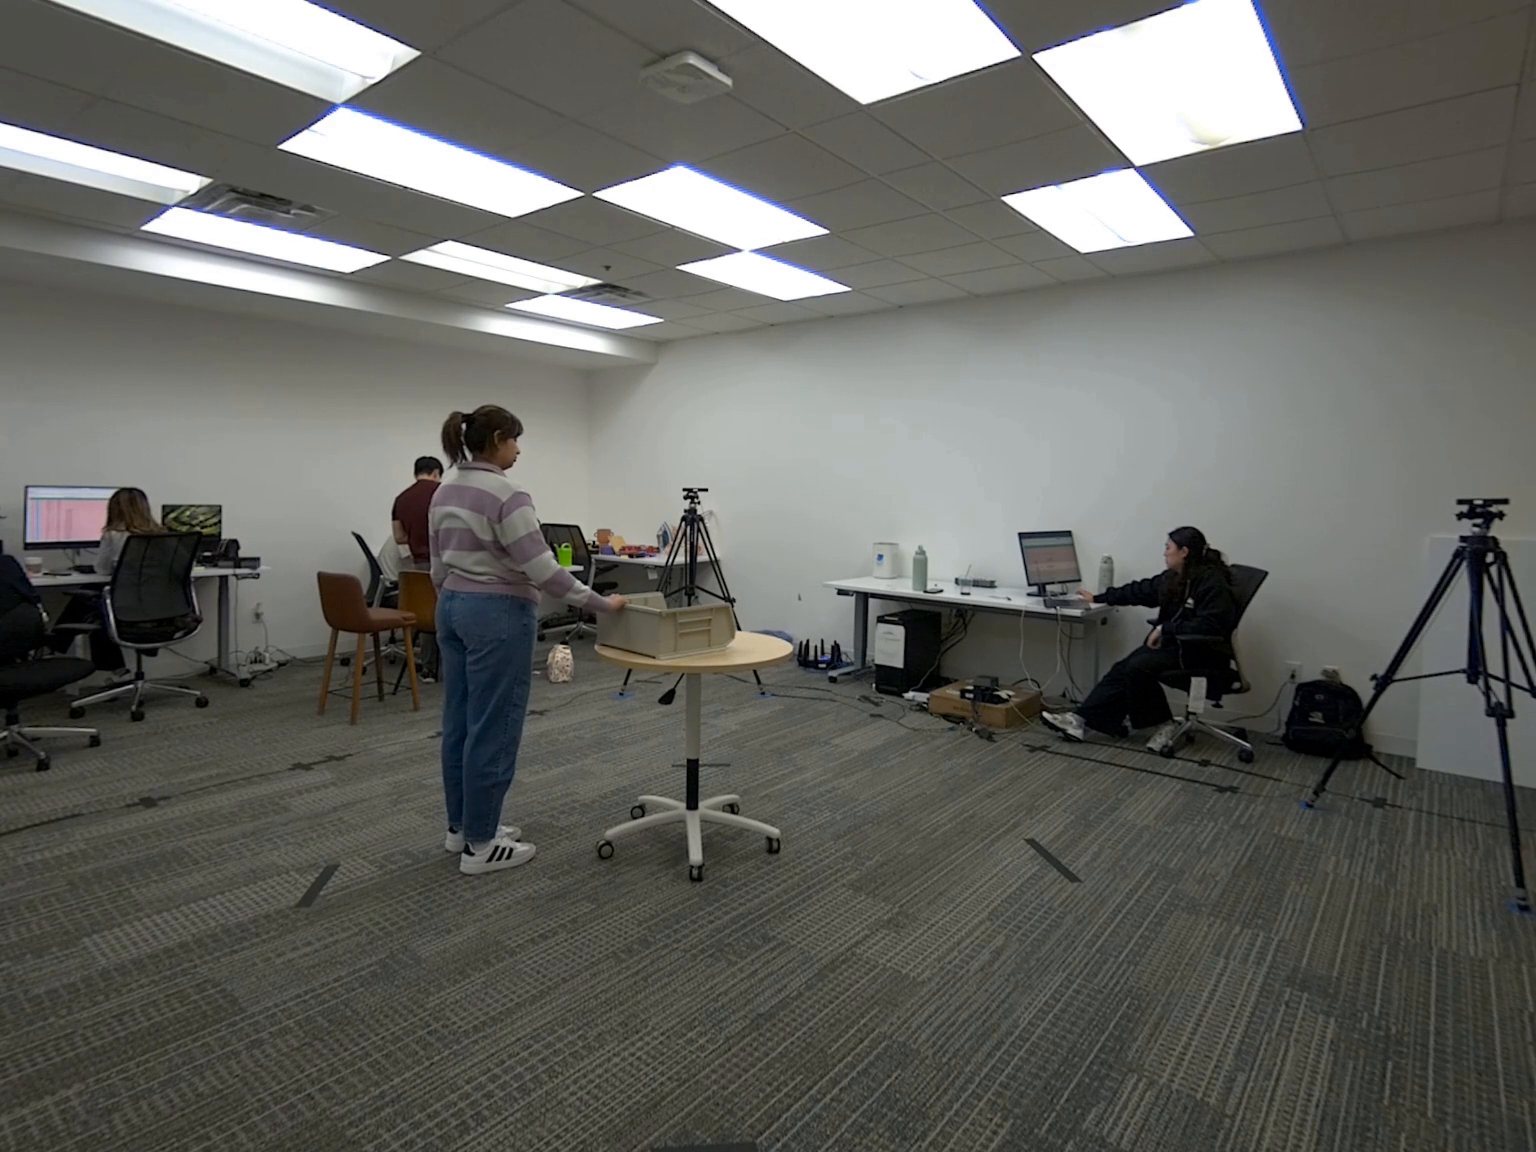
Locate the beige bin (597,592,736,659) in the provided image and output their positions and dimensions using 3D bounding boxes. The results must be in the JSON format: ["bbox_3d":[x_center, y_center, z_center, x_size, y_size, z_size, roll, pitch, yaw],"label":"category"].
[{"bbox_3d":[-0.412,0.186,3.259,0.366,0.188,0.437,-6,9,-44],"label":"beige bin"}]
